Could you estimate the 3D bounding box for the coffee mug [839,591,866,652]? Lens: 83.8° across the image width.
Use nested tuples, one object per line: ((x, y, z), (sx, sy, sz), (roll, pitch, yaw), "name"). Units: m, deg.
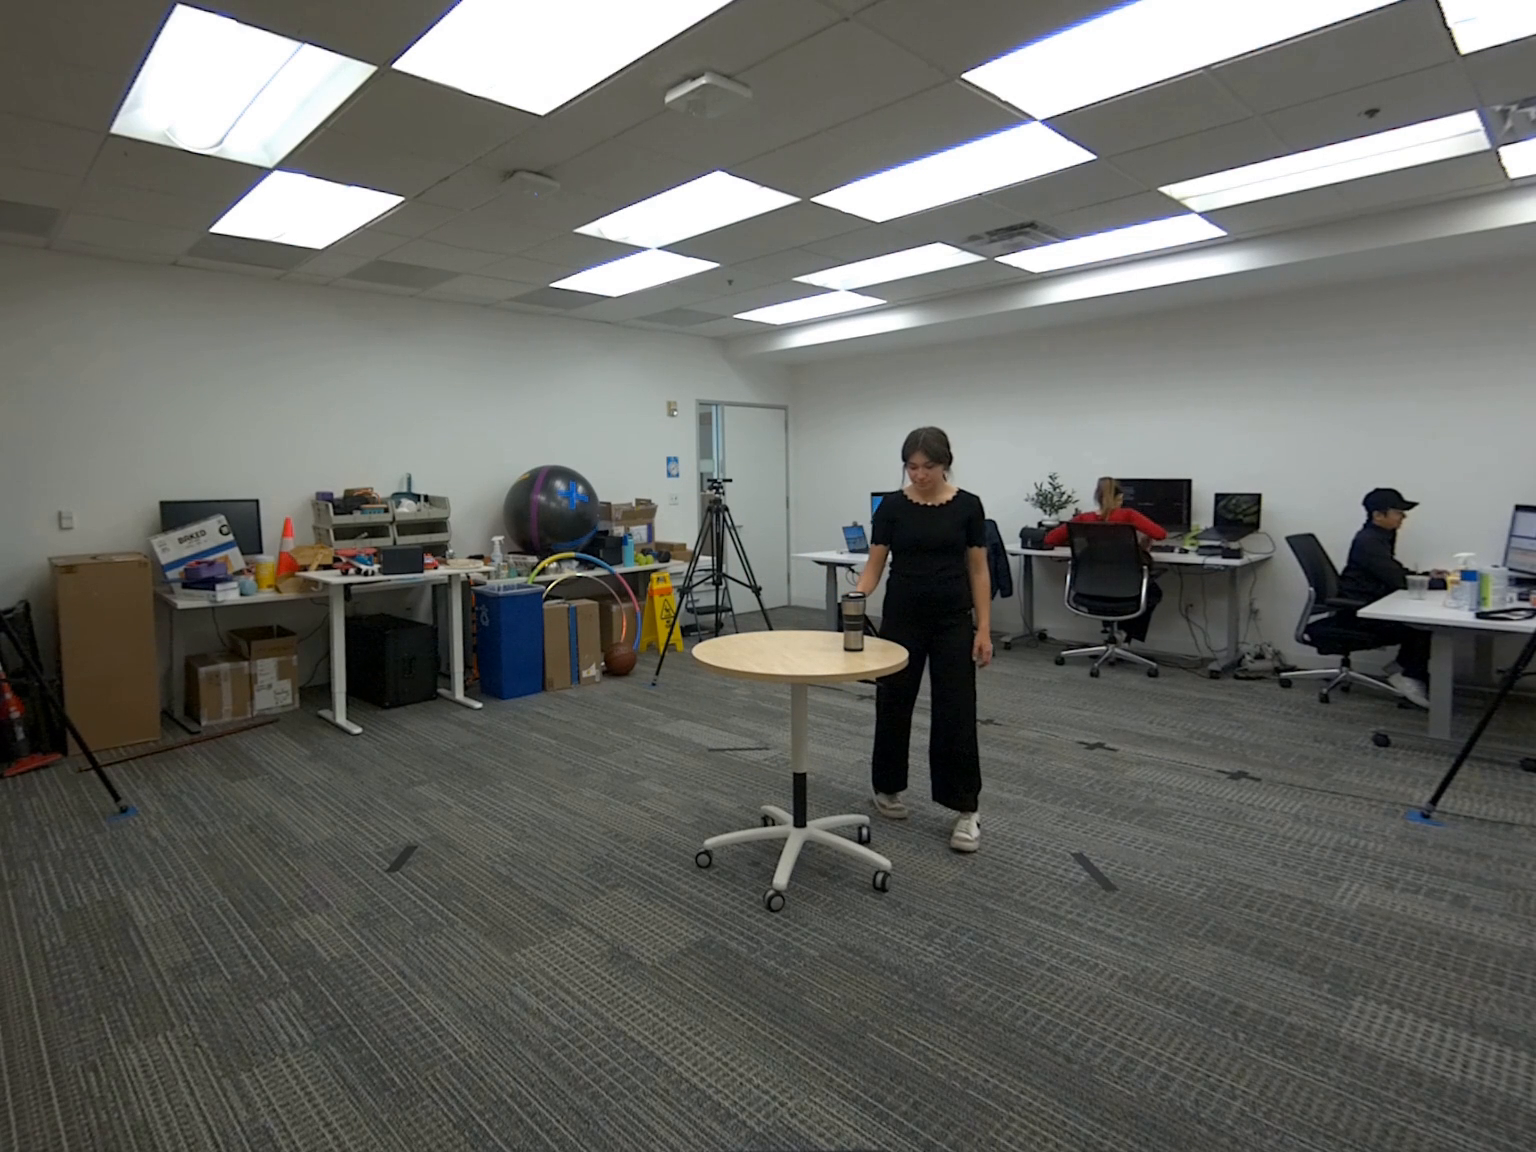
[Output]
((0.318, 0.162, 3.046), (0.119, 0.202, 0.090), (-9, 5, -33), "coffee mug")
